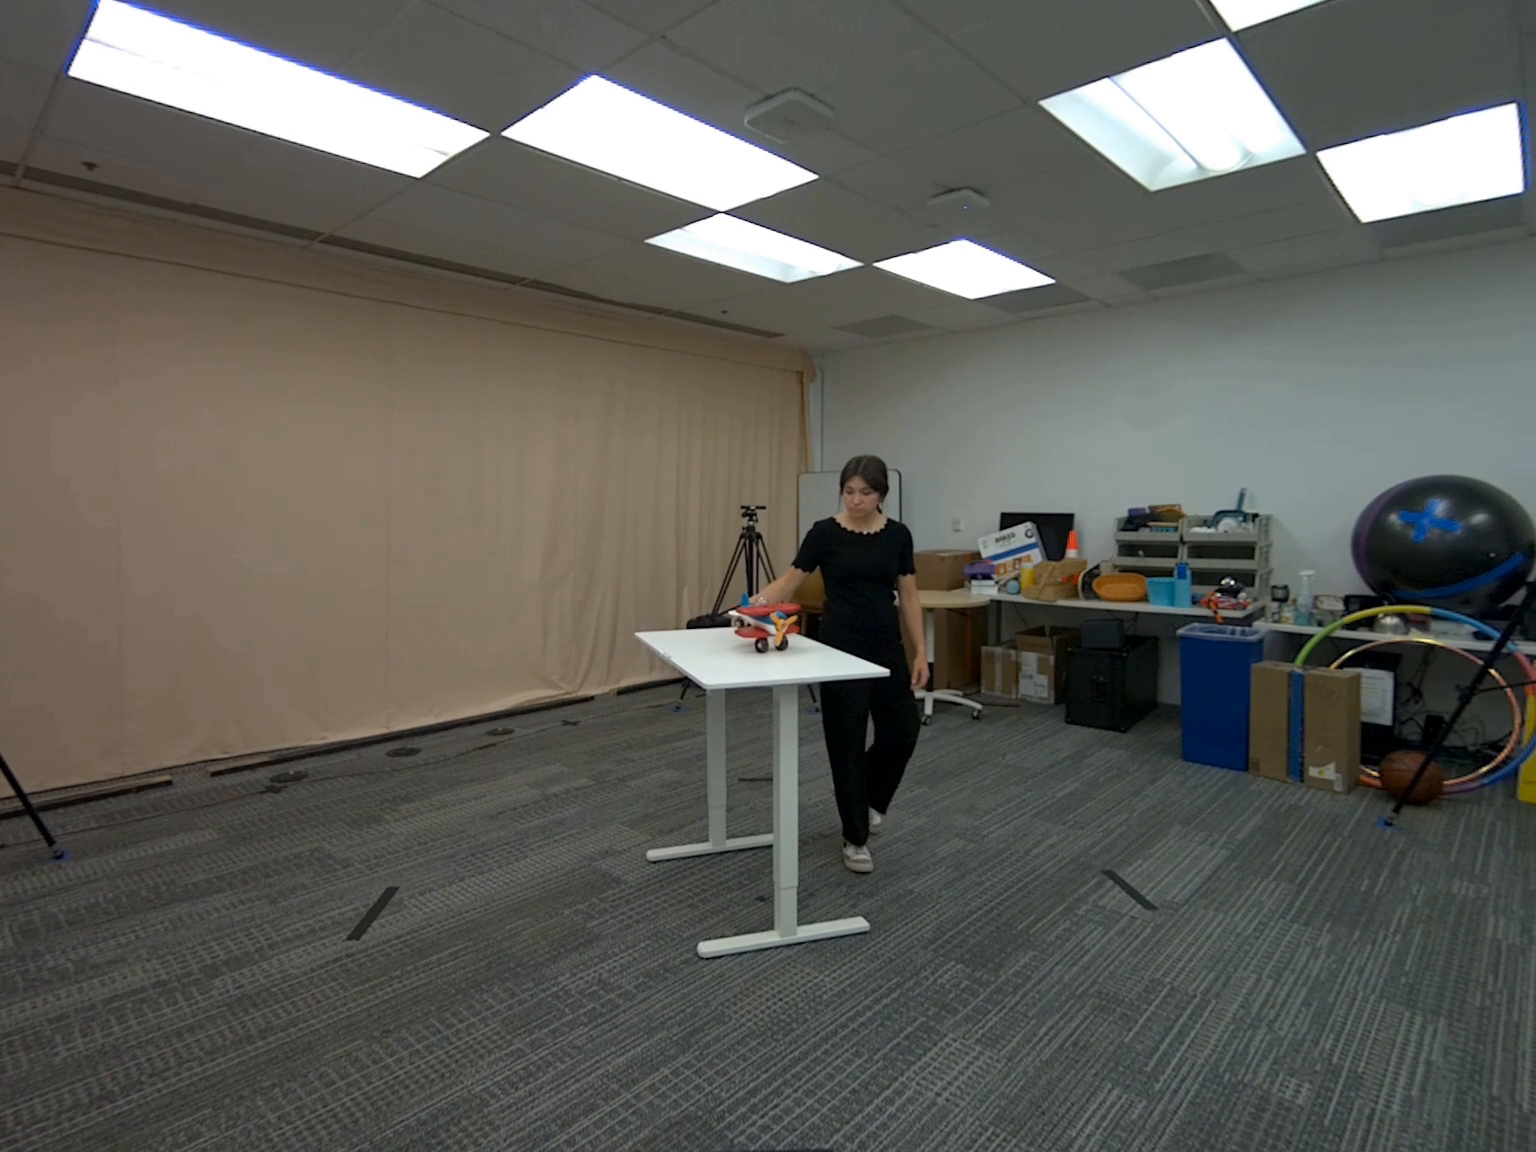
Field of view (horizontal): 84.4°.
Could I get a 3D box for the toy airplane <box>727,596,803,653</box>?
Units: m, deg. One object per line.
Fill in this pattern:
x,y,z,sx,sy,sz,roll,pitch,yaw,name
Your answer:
-0.029,0.159,2.985,0.266,0.155,0.246,21,22,23,toy airplane
